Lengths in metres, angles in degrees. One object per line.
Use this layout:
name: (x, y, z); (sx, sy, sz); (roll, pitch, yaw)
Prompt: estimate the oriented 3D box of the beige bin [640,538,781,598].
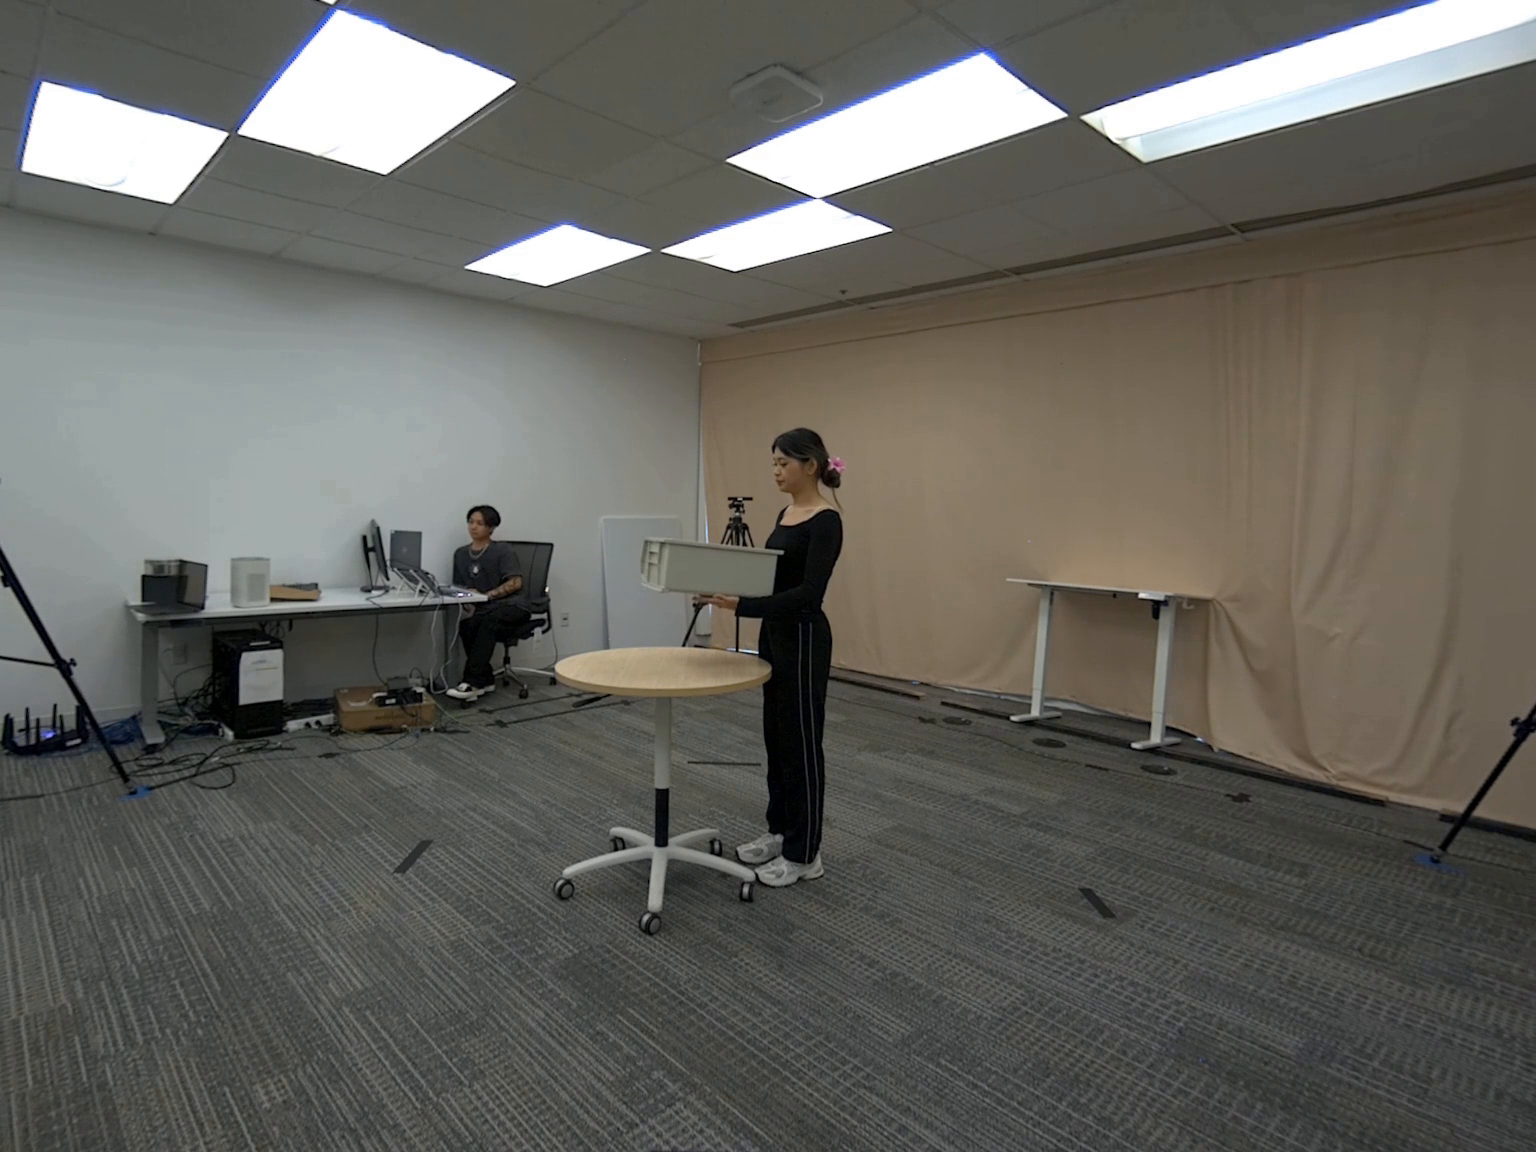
beige bin: (-0.224, -0.024, 3.006); (0.416, 0.189, 0.384); (6, 2, -19)
